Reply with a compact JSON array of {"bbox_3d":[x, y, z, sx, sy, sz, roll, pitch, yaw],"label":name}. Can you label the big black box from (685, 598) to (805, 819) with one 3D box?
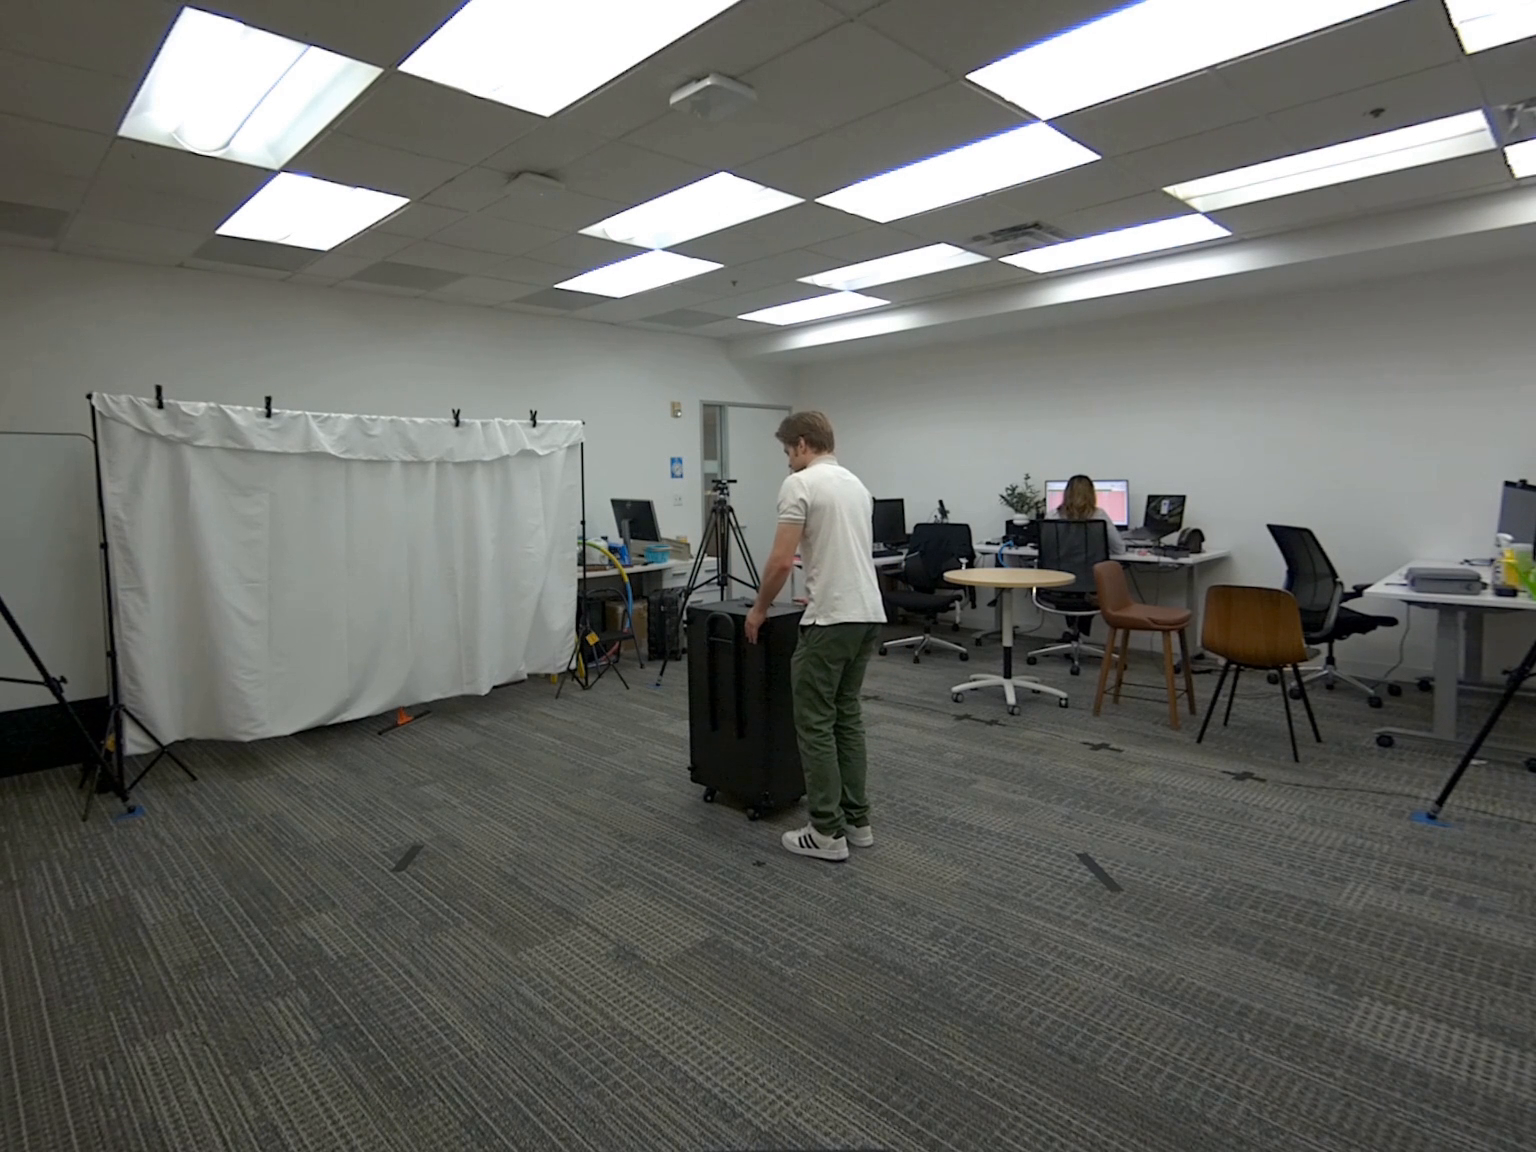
[{"bbox_3d":[-0.057,0.562,3.698,0.375,0.865,0.539,-5,6,-45],"label":"big black box"}]
